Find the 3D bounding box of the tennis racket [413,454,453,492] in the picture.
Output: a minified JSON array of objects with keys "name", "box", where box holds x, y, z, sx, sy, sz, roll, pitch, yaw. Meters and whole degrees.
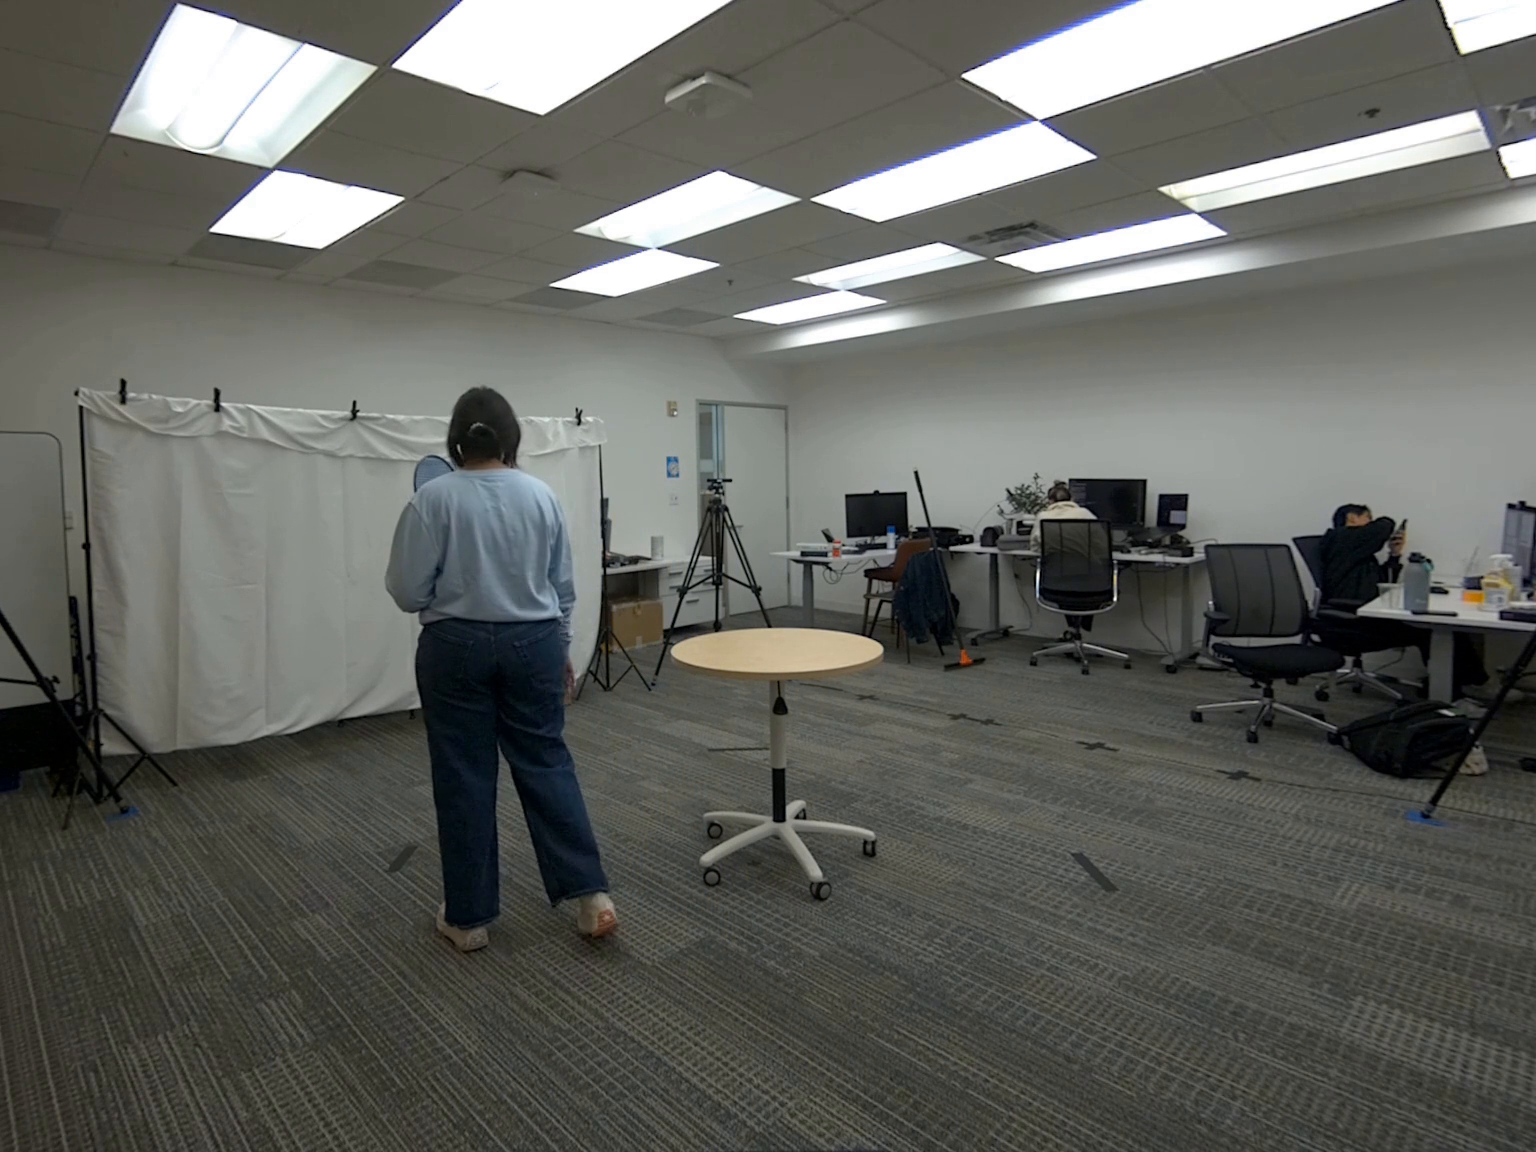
[{"name":"tennis racket","box":[-1.020,-0.181,2.769,0.032,0.436,0.209,-14,-7,22]}]
